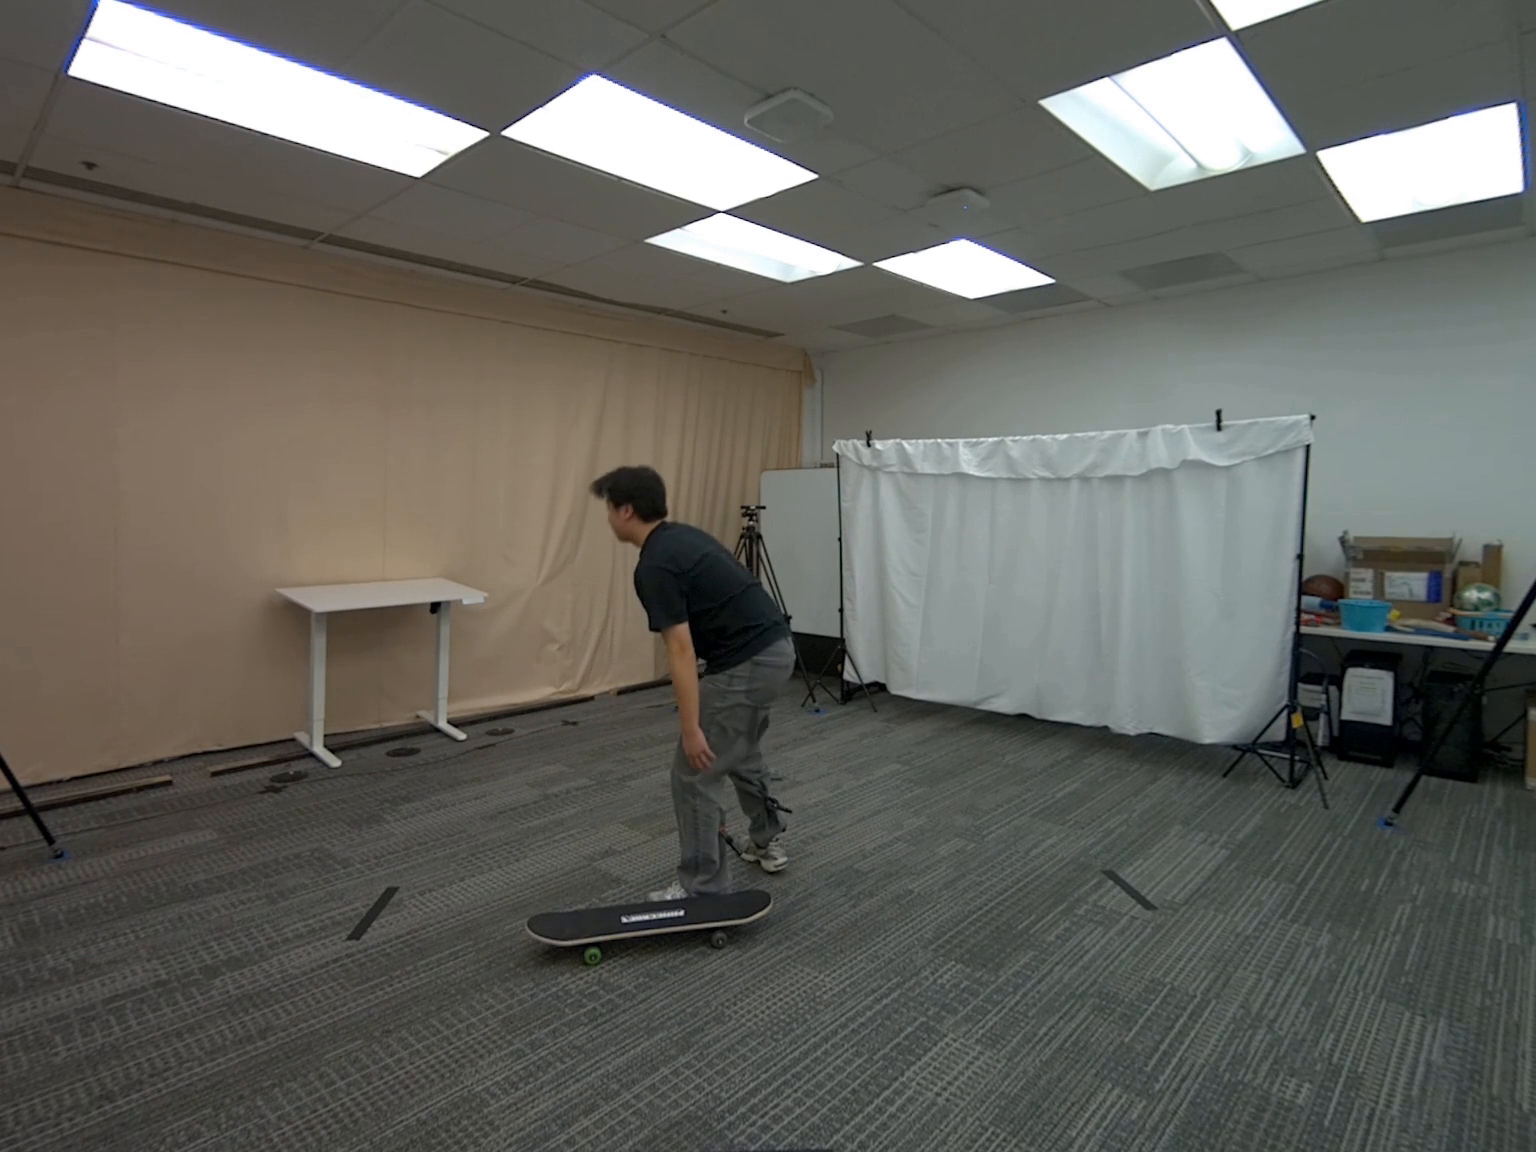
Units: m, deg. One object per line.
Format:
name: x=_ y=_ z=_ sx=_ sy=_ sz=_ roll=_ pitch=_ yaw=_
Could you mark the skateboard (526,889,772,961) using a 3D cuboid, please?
skateboard: x=-0.369 y=1.123 z=2.670 sx=0.776 sy=0.110 sz=0.196 roll=-1 pitch=4 yaw=-11
